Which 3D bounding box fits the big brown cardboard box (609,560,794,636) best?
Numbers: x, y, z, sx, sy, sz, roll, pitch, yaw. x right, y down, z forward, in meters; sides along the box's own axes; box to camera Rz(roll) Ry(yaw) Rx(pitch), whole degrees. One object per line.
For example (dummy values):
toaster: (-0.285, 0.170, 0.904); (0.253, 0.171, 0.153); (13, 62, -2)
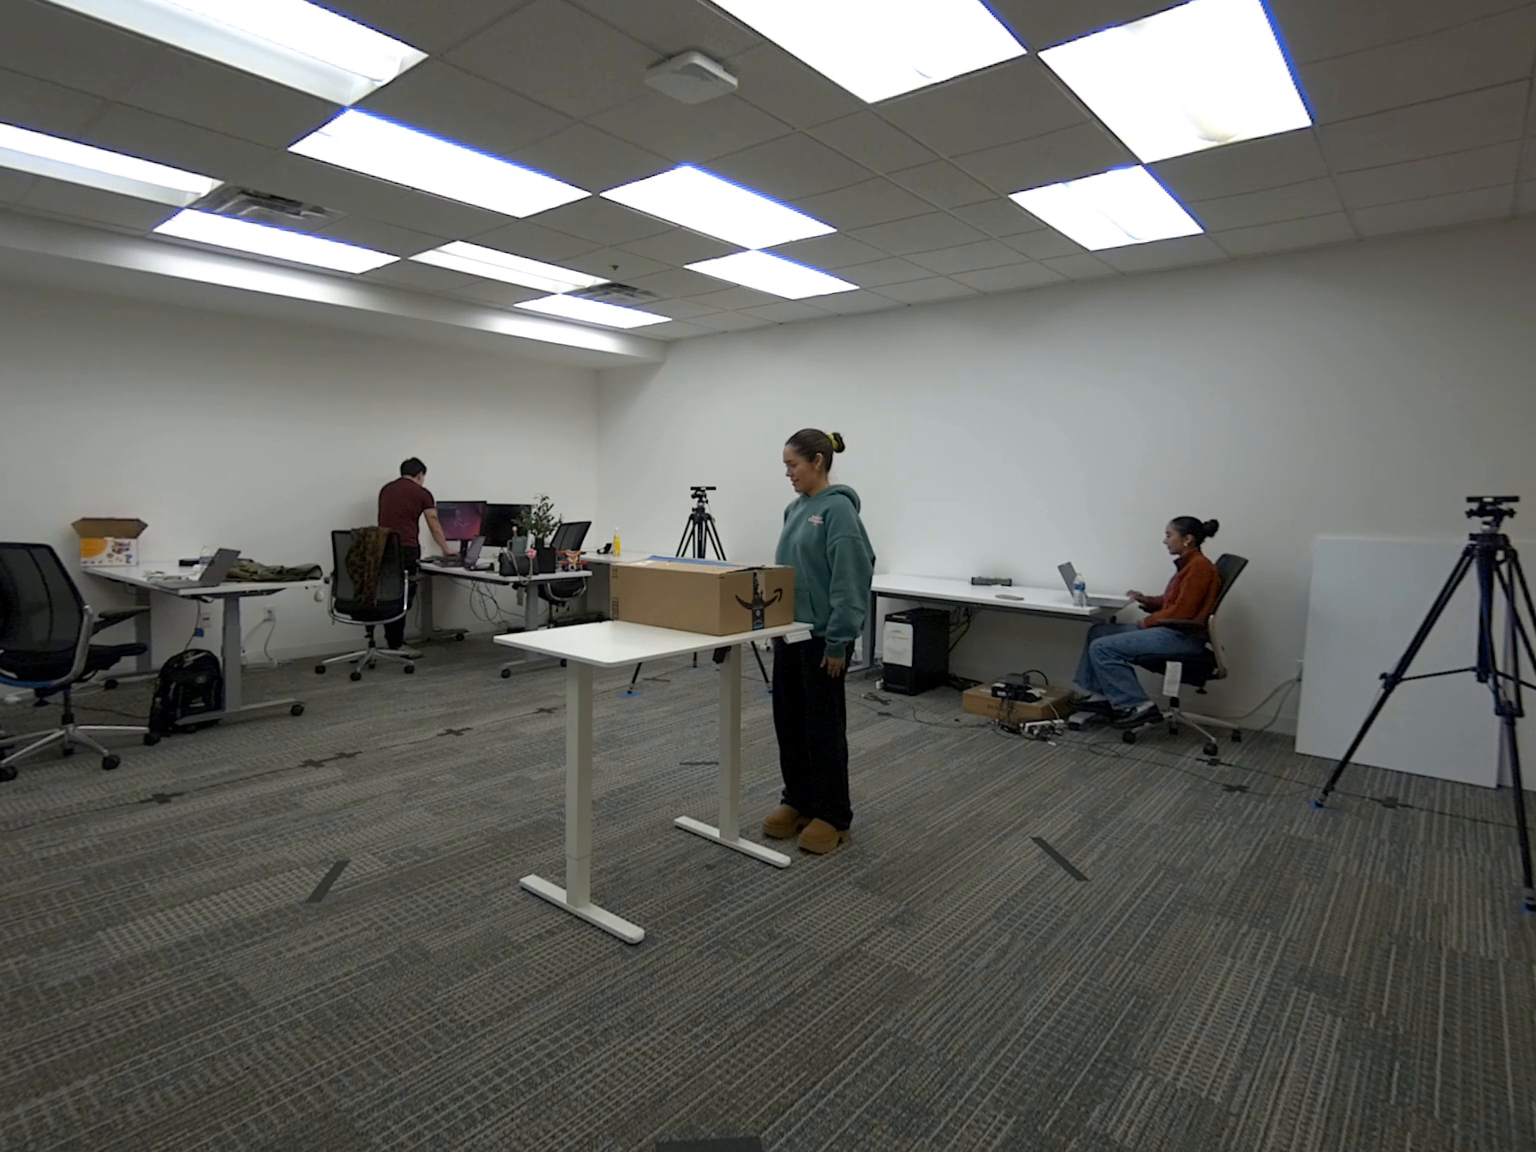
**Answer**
big brown cardboard box: (-0.265, 0.061, 3.226); (0.609, 0.232, 0.405); (6, 7, 39)
